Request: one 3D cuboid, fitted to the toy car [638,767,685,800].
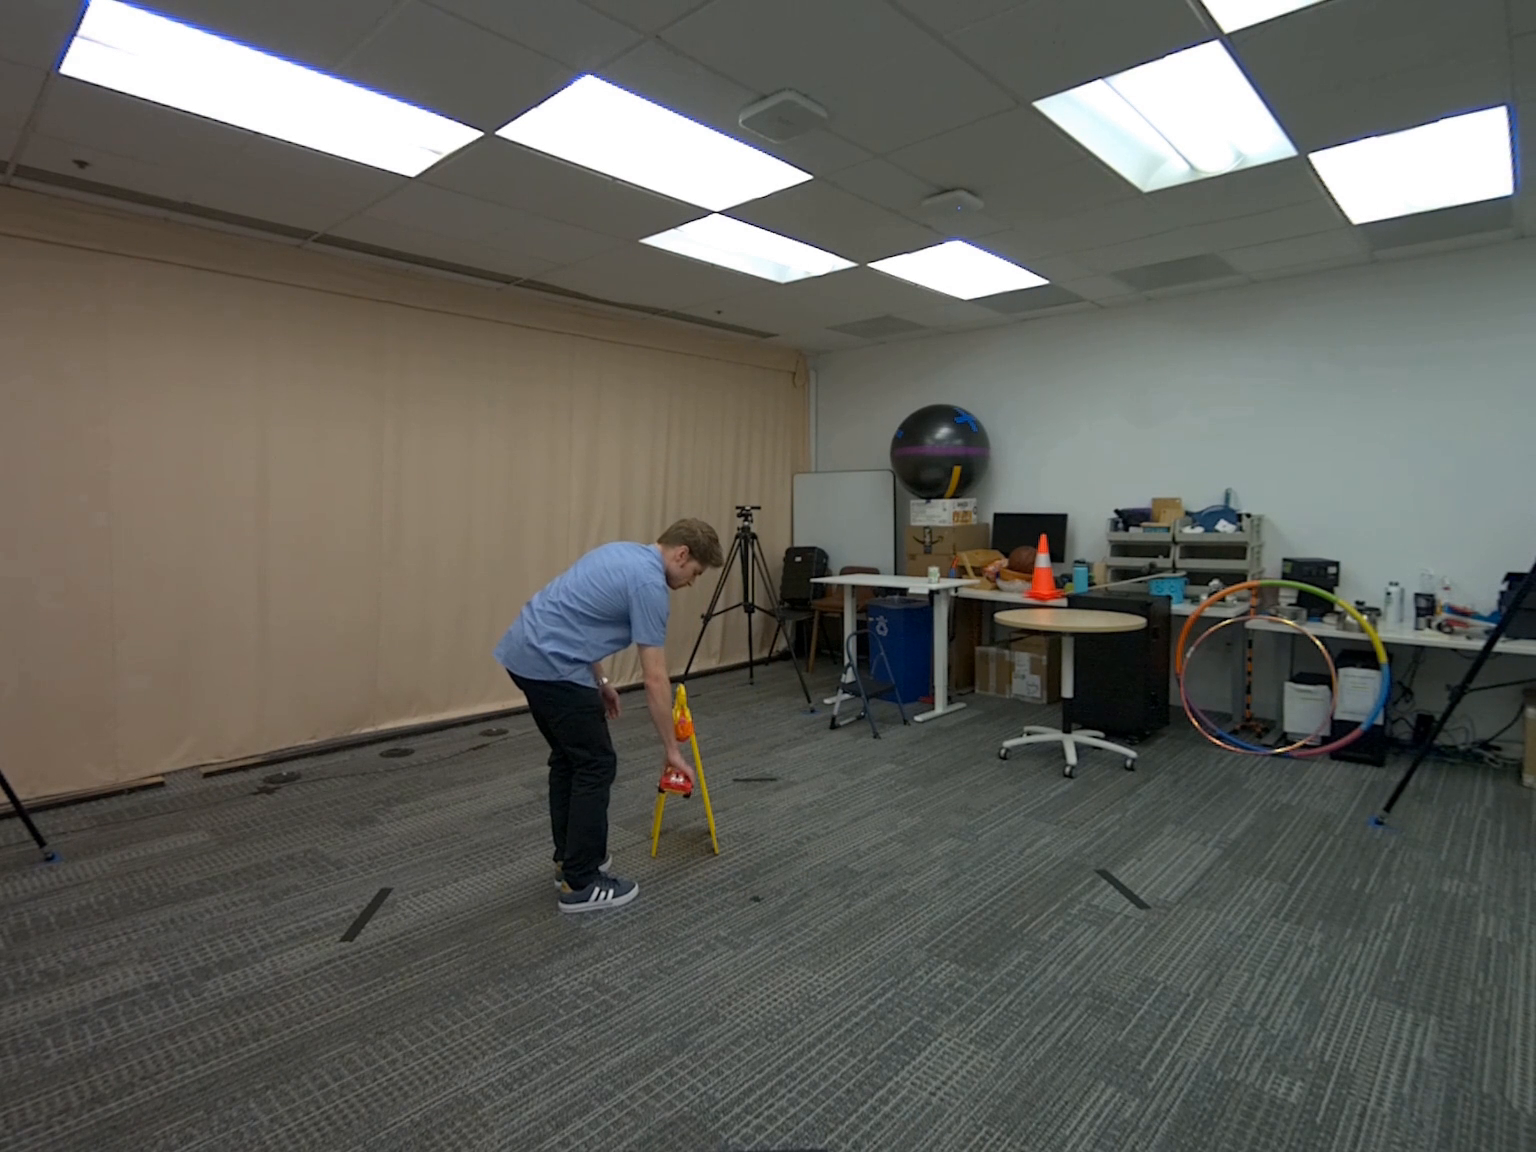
[{"bbox_3d":[-0.373,0.731,2.977,0.130,0.084,0.252,6,-16,1],"label":"toy car"}]
